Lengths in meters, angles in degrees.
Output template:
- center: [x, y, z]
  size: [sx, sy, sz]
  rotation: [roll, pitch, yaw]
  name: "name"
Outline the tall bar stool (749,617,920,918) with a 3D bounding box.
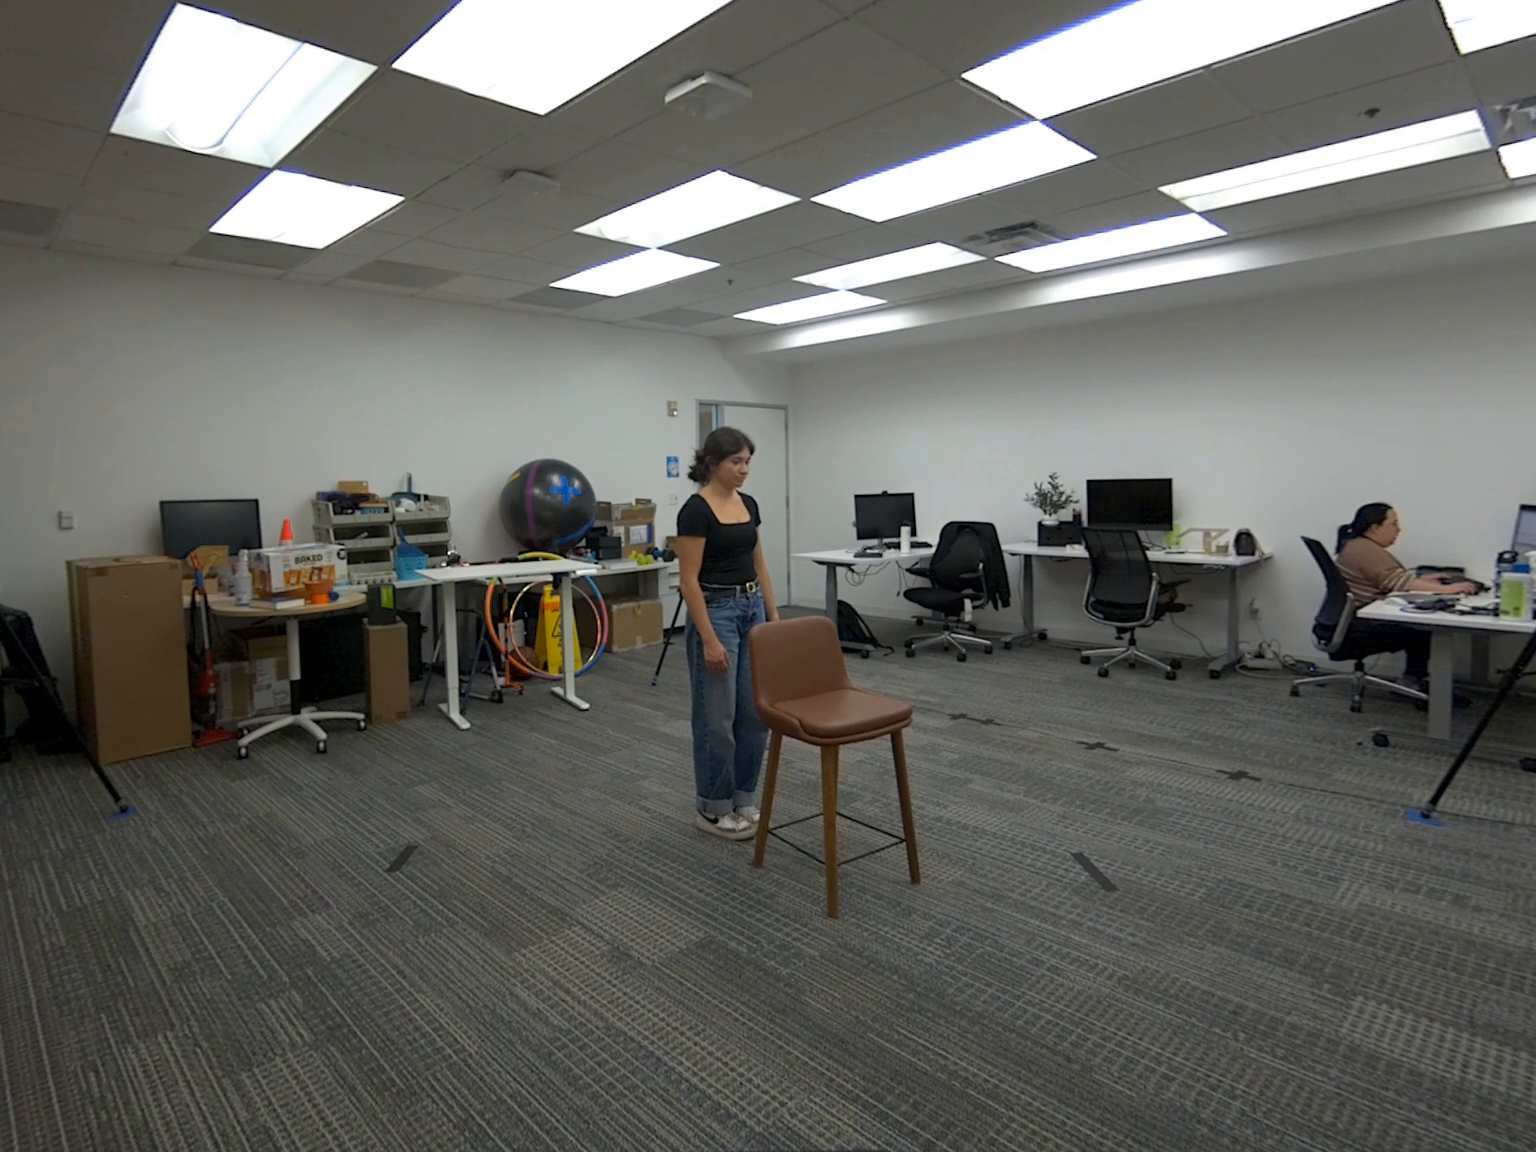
- center: [0.220, 0.621, 2.986]
  size: [0.445, 0.888, 0.481]
  rotation: [-3, 3, -36]
  name: "tall bar stool"
